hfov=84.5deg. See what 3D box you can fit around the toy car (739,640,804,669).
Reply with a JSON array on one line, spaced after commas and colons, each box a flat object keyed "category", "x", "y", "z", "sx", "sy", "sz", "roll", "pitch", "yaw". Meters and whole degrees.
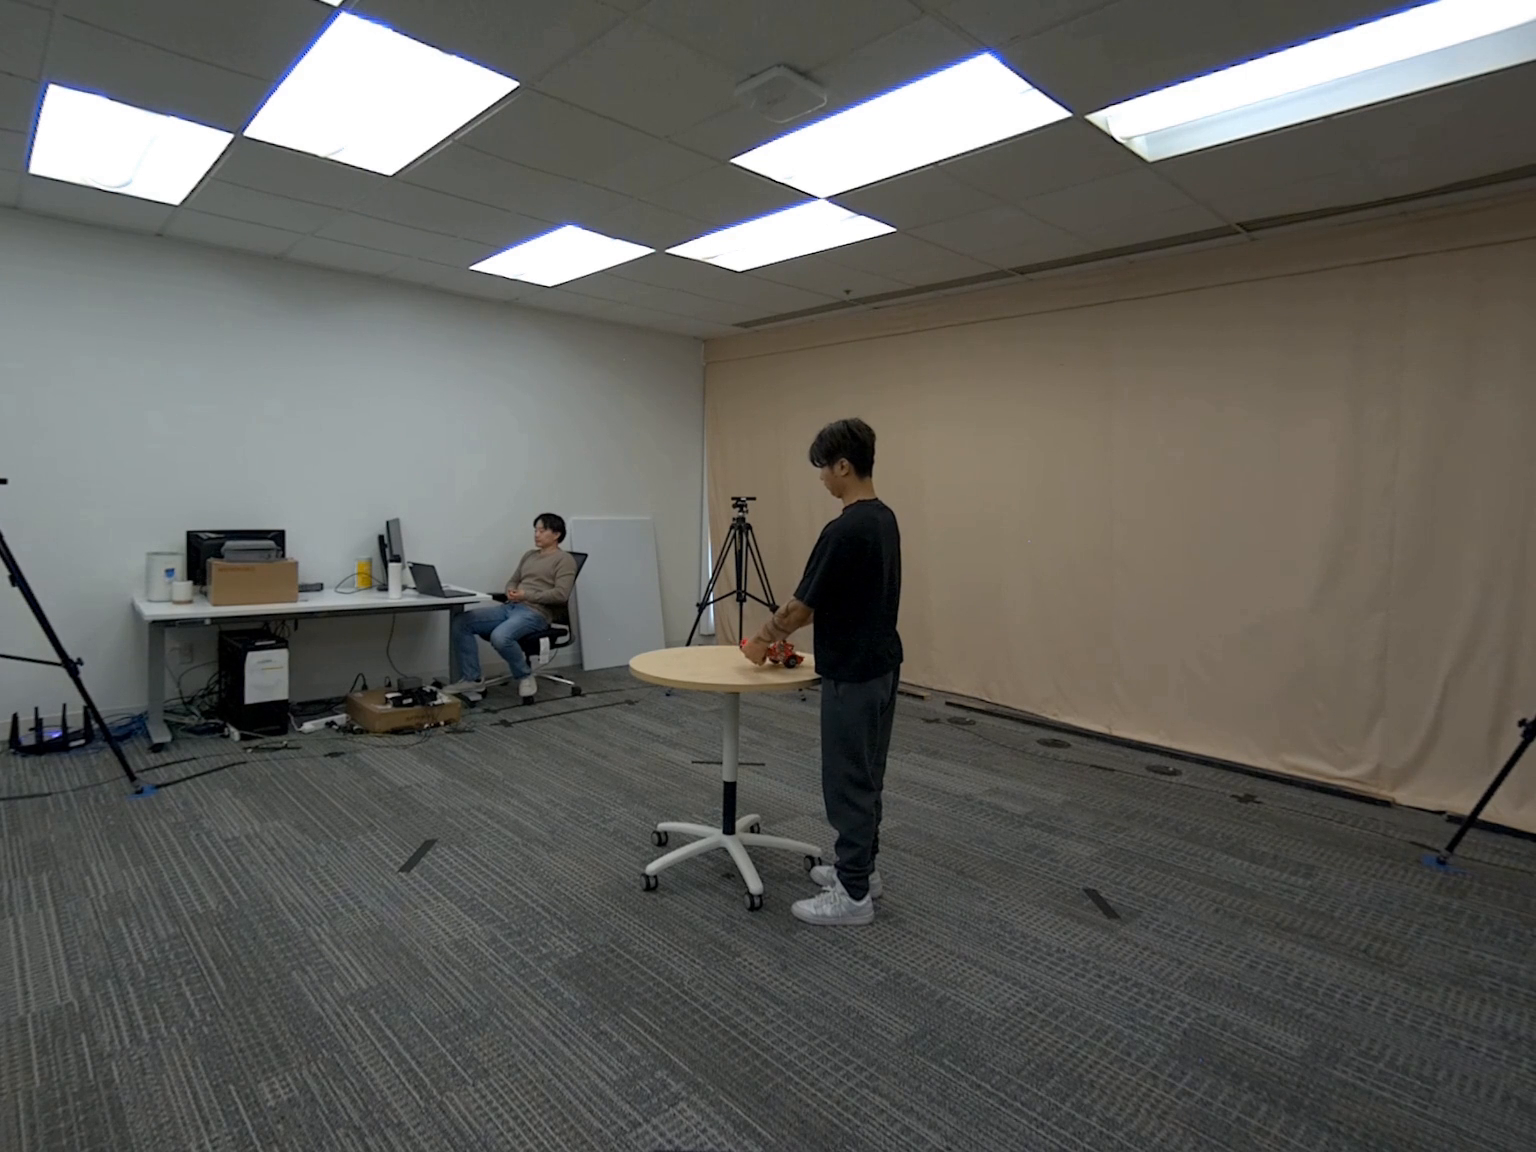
[{"category": "toy car", "x": 0.013, "y": 0.279, "z": 3.049, "sx": 0.248, "sy": 0.083, "sz": 0.133, "roll": 9, "pitch": 0, "yaw": -35}]
